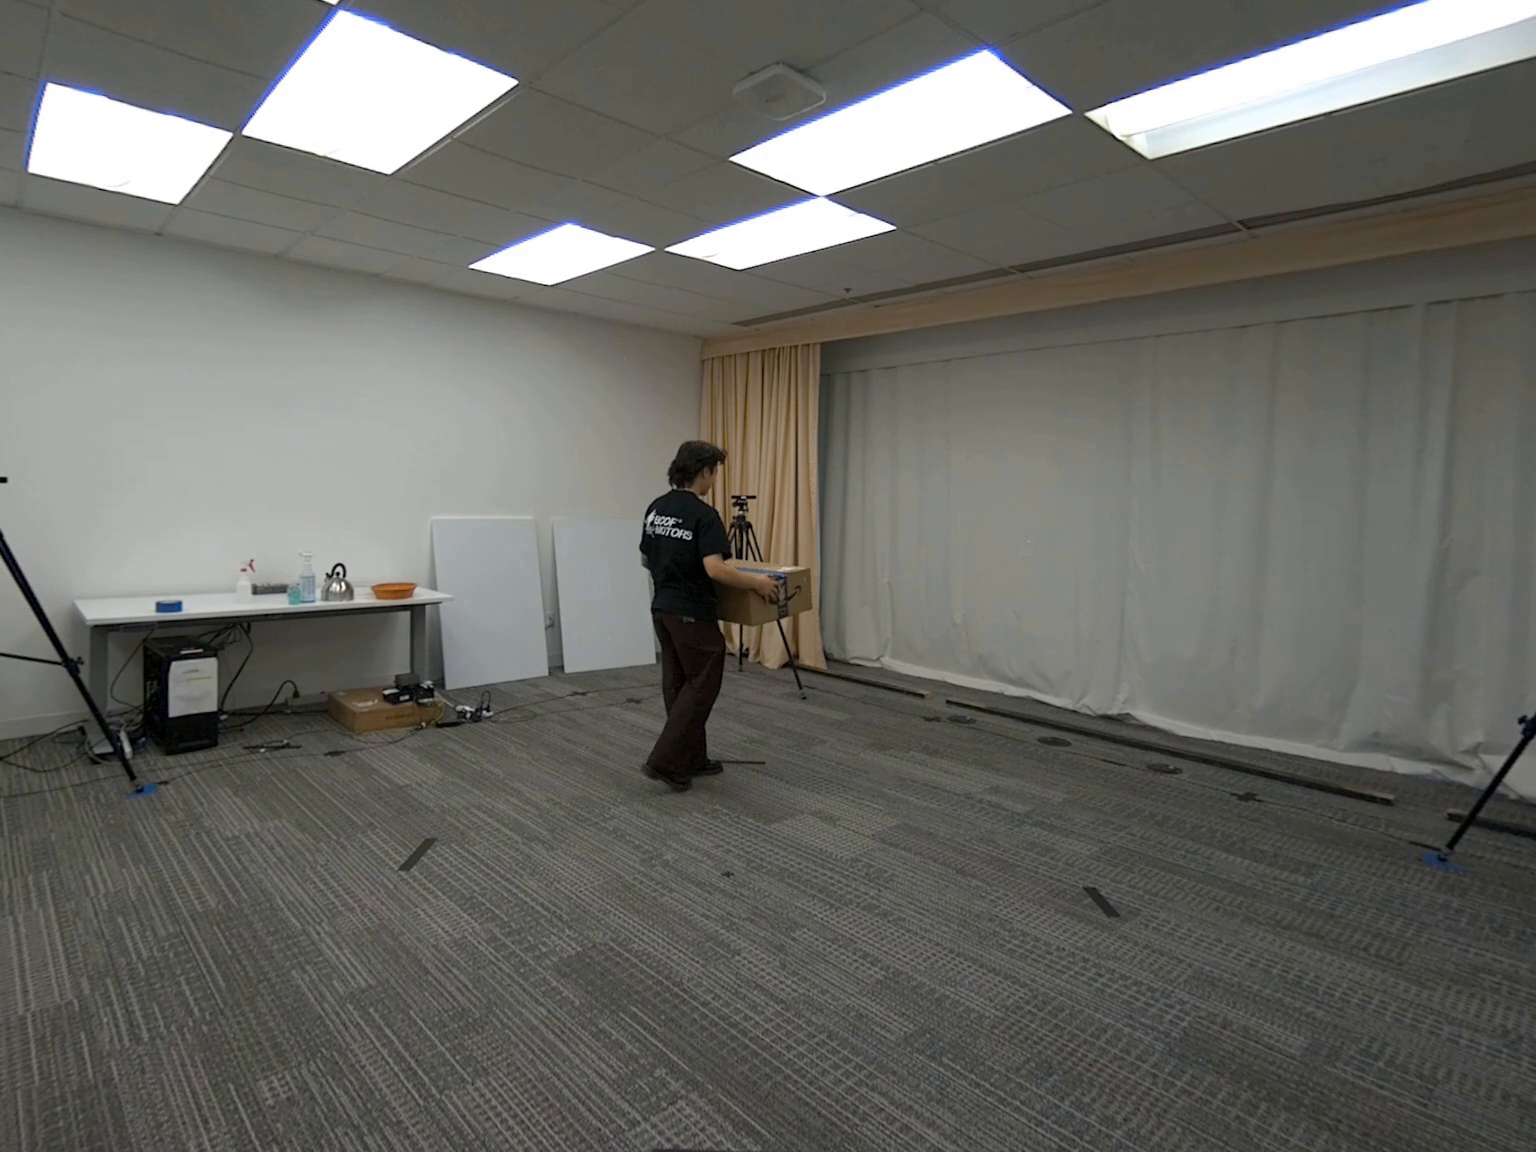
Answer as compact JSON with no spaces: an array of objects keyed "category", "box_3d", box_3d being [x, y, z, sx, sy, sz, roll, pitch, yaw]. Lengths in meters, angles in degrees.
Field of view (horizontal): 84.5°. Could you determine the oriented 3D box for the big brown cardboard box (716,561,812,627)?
[{"category":"big brown cardboard box","box_3d":[-0.134,0.072,4.291,0.410,0.231,0.604,-14,13,-41]}]
